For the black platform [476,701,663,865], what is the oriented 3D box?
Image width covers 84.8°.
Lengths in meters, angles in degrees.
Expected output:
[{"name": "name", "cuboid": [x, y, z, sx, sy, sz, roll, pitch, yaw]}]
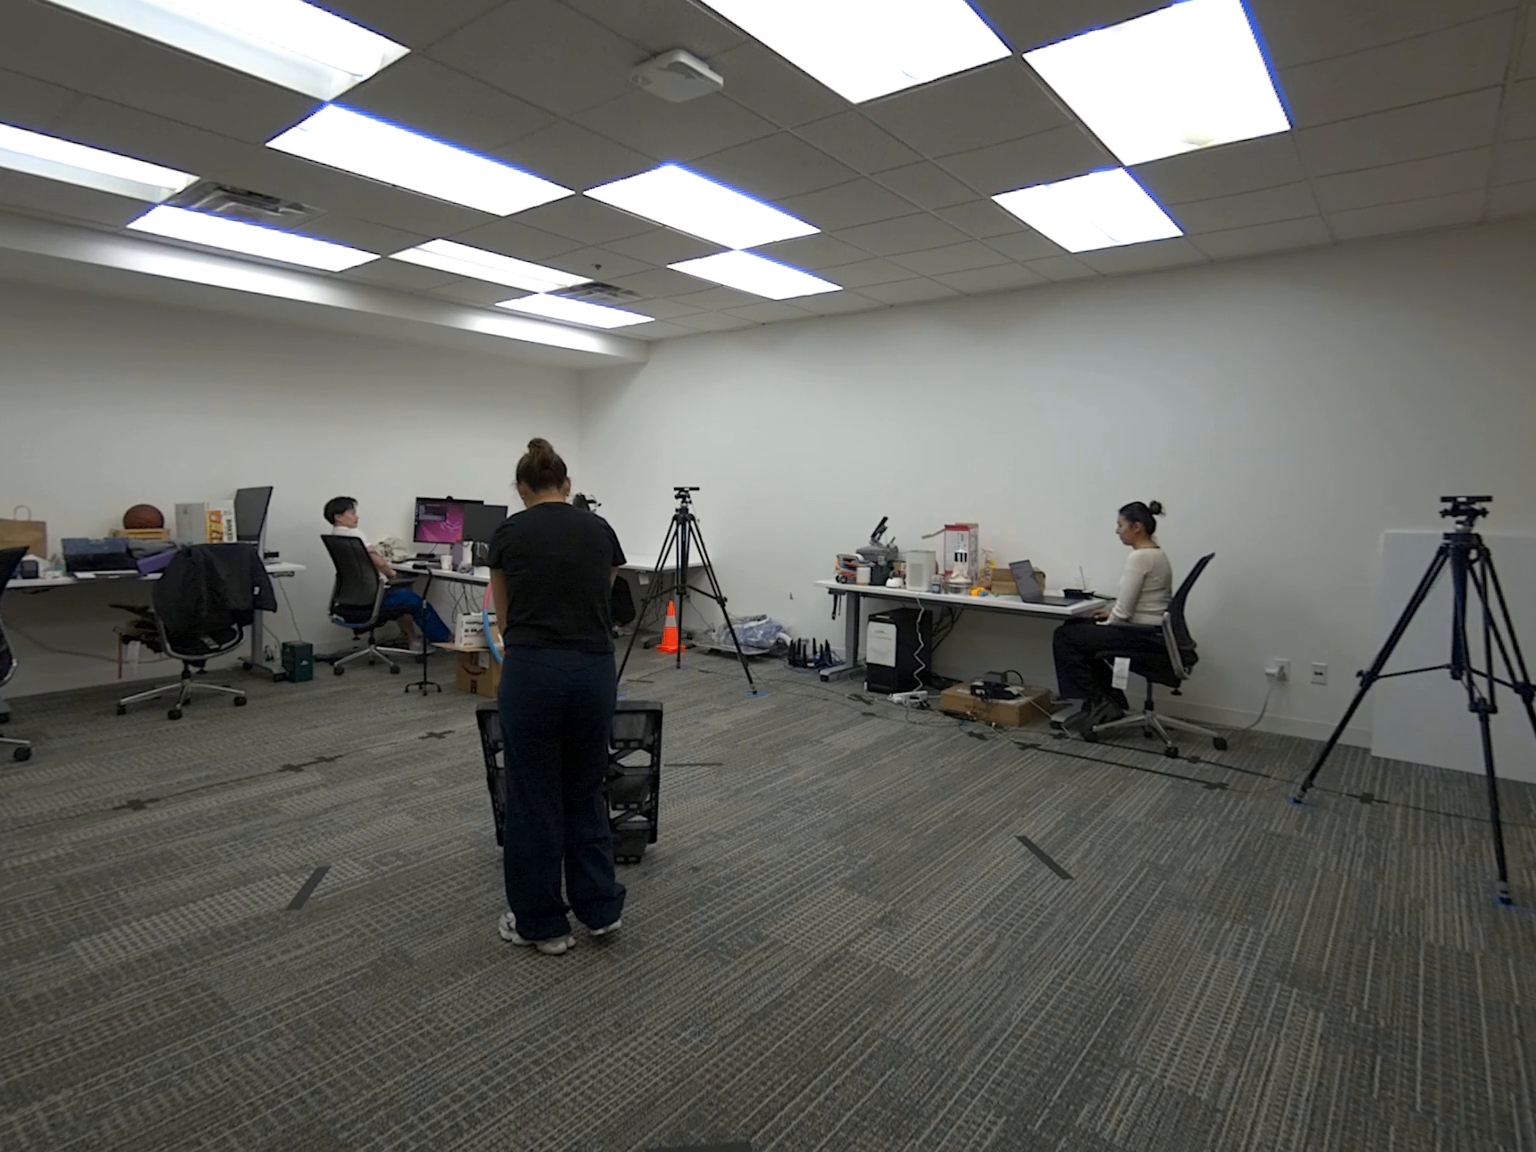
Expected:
[{"name": "black platform", "cuboid": [-0.664, 0.741, 2.970, 0.602, 0.785, 0.148, 1, 39, -5]}]
